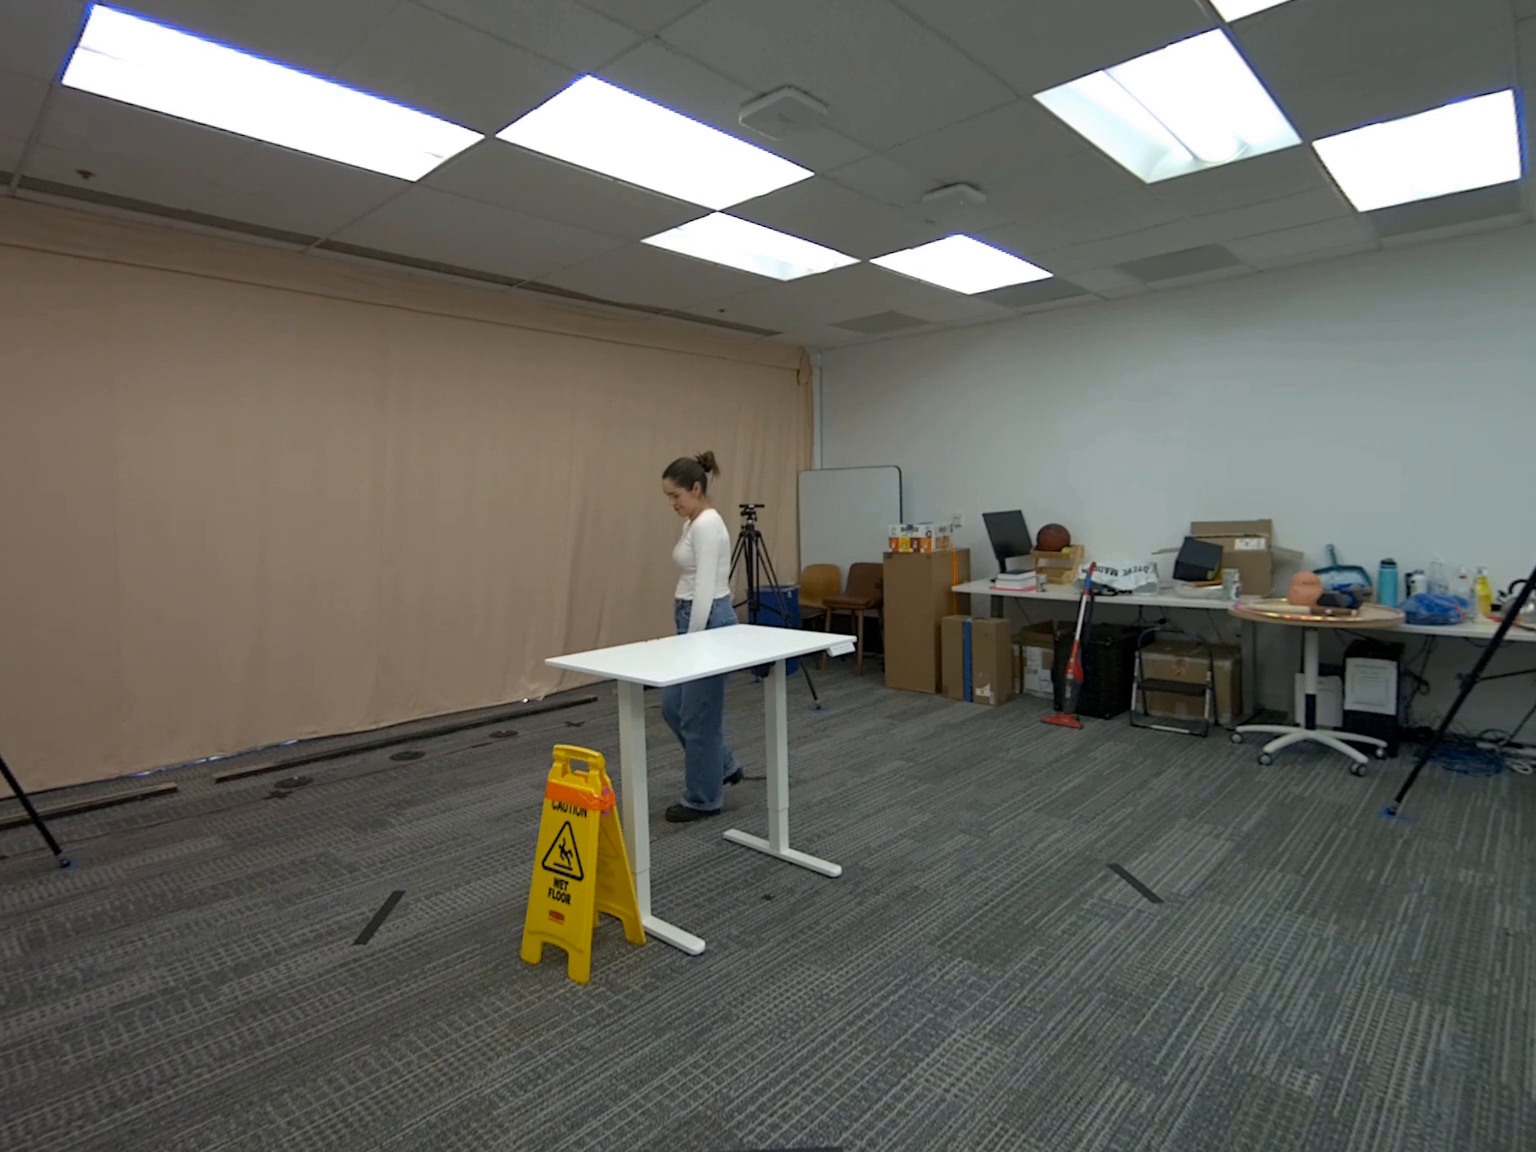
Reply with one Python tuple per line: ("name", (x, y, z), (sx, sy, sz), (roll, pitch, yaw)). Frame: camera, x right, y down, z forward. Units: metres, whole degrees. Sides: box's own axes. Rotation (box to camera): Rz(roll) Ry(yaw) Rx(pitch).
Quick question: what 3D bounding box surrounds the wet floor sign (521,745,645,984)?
("wet floor sign", (-0.587, 0.858, 2.630), (0.291, 0.645, 0.282), (-1, 3, 34))
